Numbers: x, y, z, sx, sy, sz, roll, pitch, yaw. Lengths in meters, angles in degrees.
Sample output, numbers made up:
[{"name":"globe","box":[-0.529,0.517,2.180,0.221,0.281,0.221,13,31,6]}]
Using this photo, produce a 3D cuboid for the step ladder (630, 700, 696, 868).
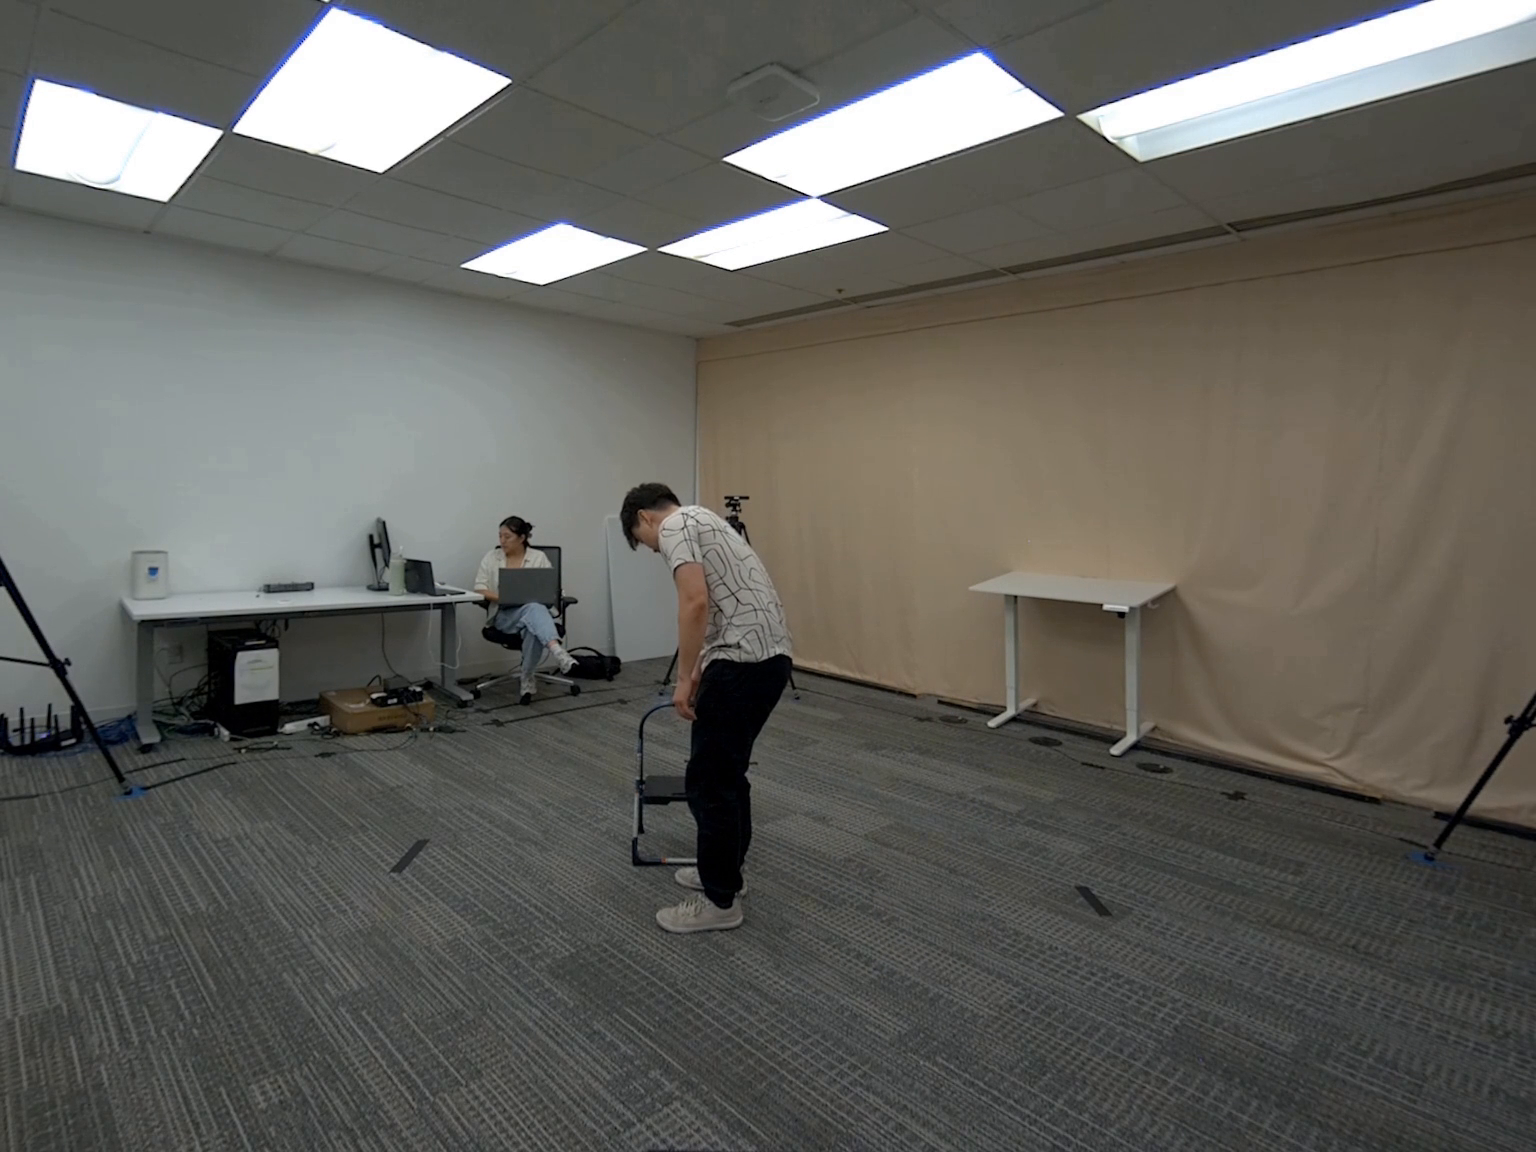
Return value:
[{"name":"step ladder","box":[-0.322,0.785,3.323,0.429,0.605,0.351,1,2,-5]}]
